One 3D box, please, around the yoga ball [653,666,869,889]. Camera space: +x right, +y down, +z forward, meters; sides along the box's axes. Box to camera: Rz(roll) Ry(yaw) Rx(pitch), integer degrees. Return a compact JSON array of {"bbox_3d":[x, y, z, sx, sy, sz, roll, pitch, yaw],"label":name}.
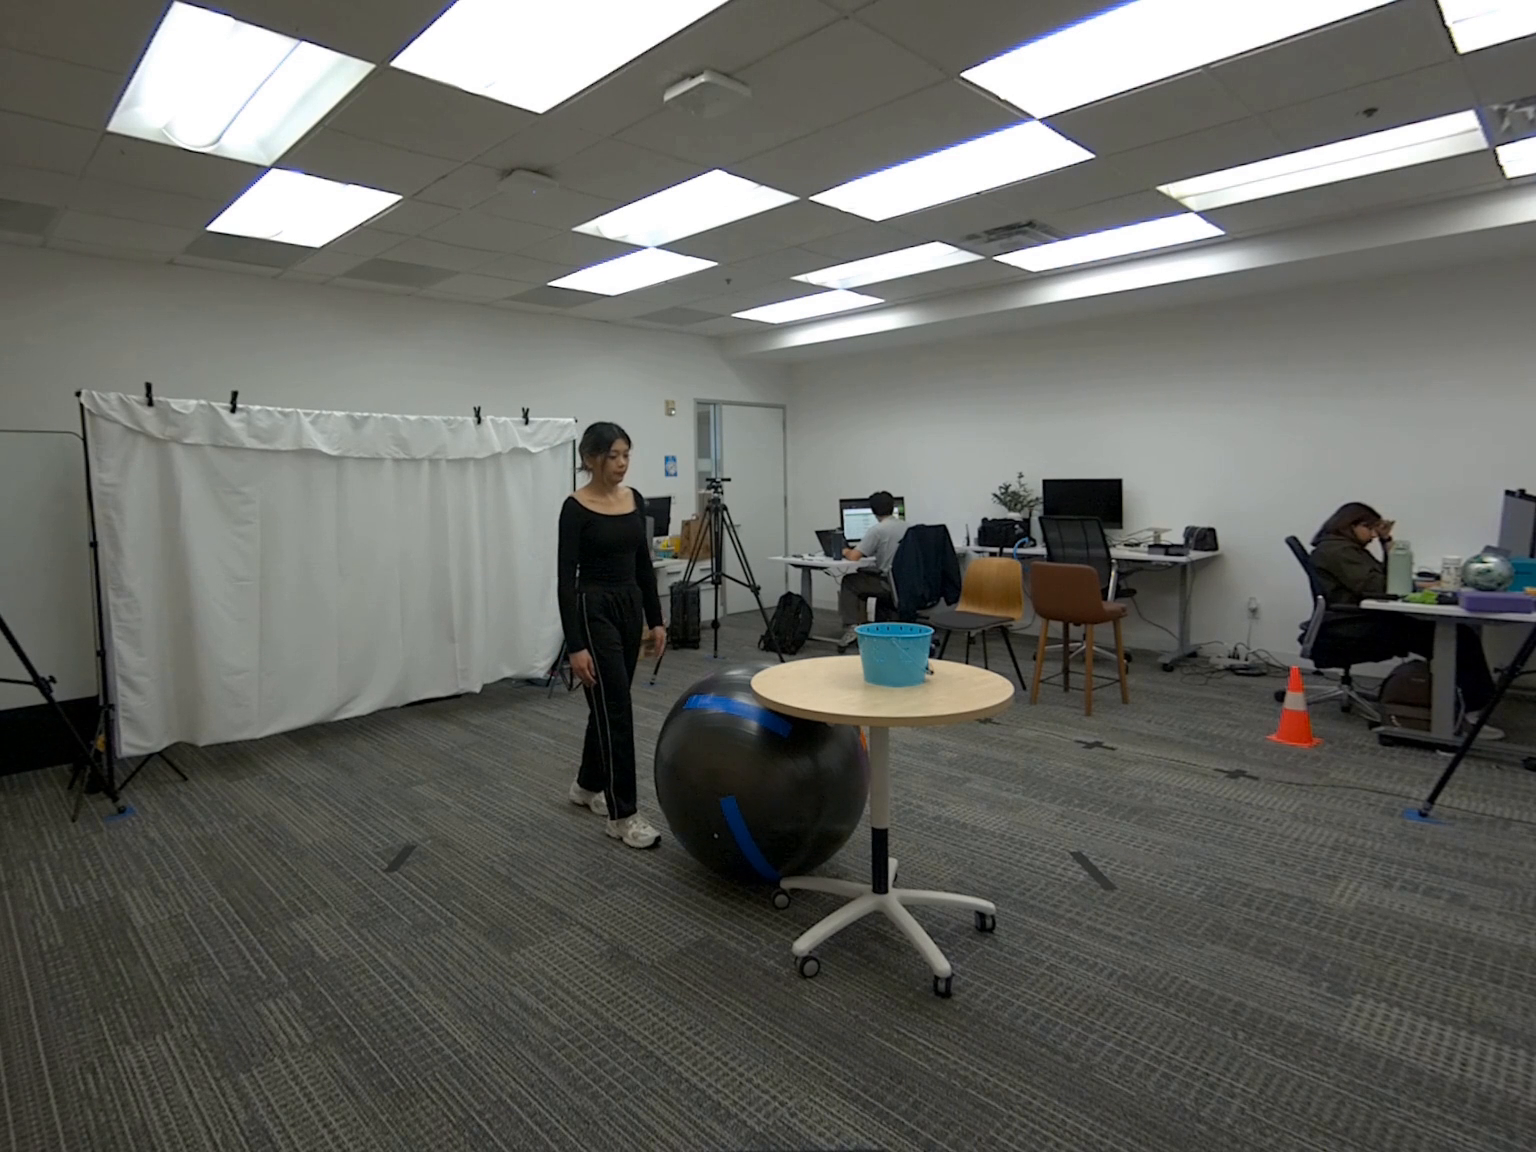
[{"bbox_3d":[-0.023,0.688,3.019,0.757,0.755,0.762,-1,5,-2],"label":"yoga ball"}]
